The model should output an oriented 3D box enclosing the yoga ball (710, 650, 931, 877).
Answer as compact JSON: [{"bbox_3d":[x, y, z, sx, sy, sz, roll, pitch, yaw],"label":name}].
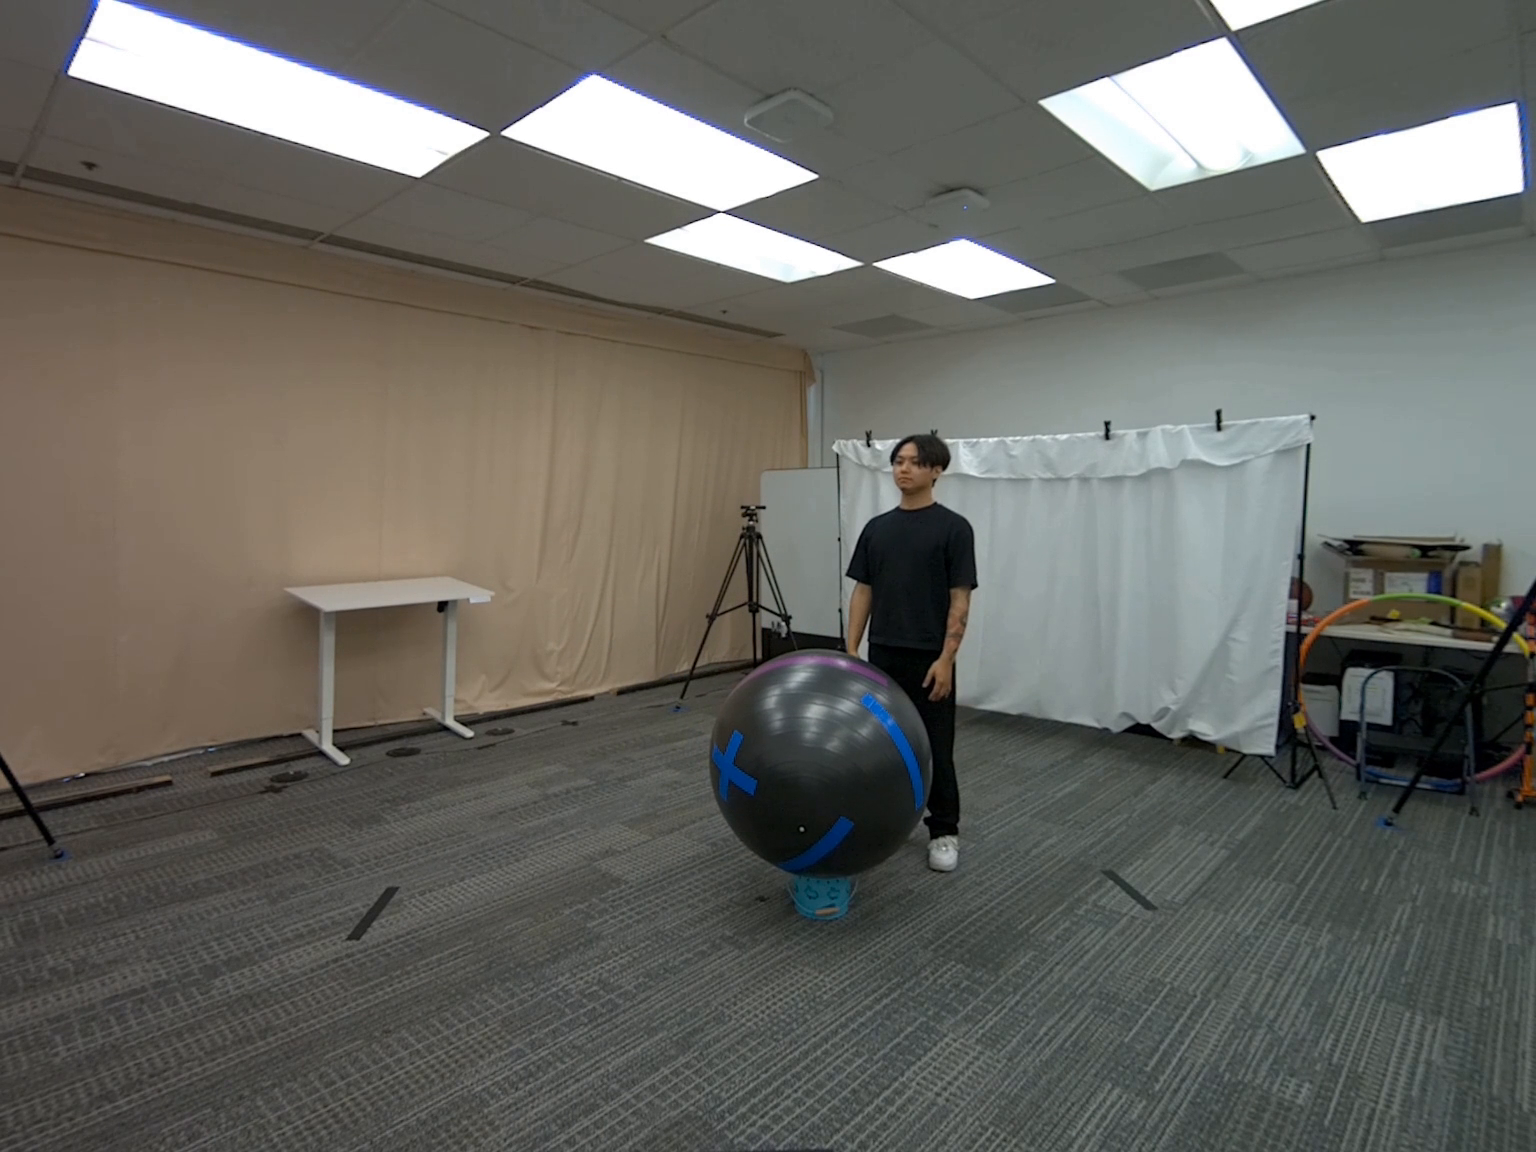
[{"bbox_3d":[0.181,0.637,2.903,0.757,0.756,0.761,0,4,-2],"label":"yoga ball"}]
